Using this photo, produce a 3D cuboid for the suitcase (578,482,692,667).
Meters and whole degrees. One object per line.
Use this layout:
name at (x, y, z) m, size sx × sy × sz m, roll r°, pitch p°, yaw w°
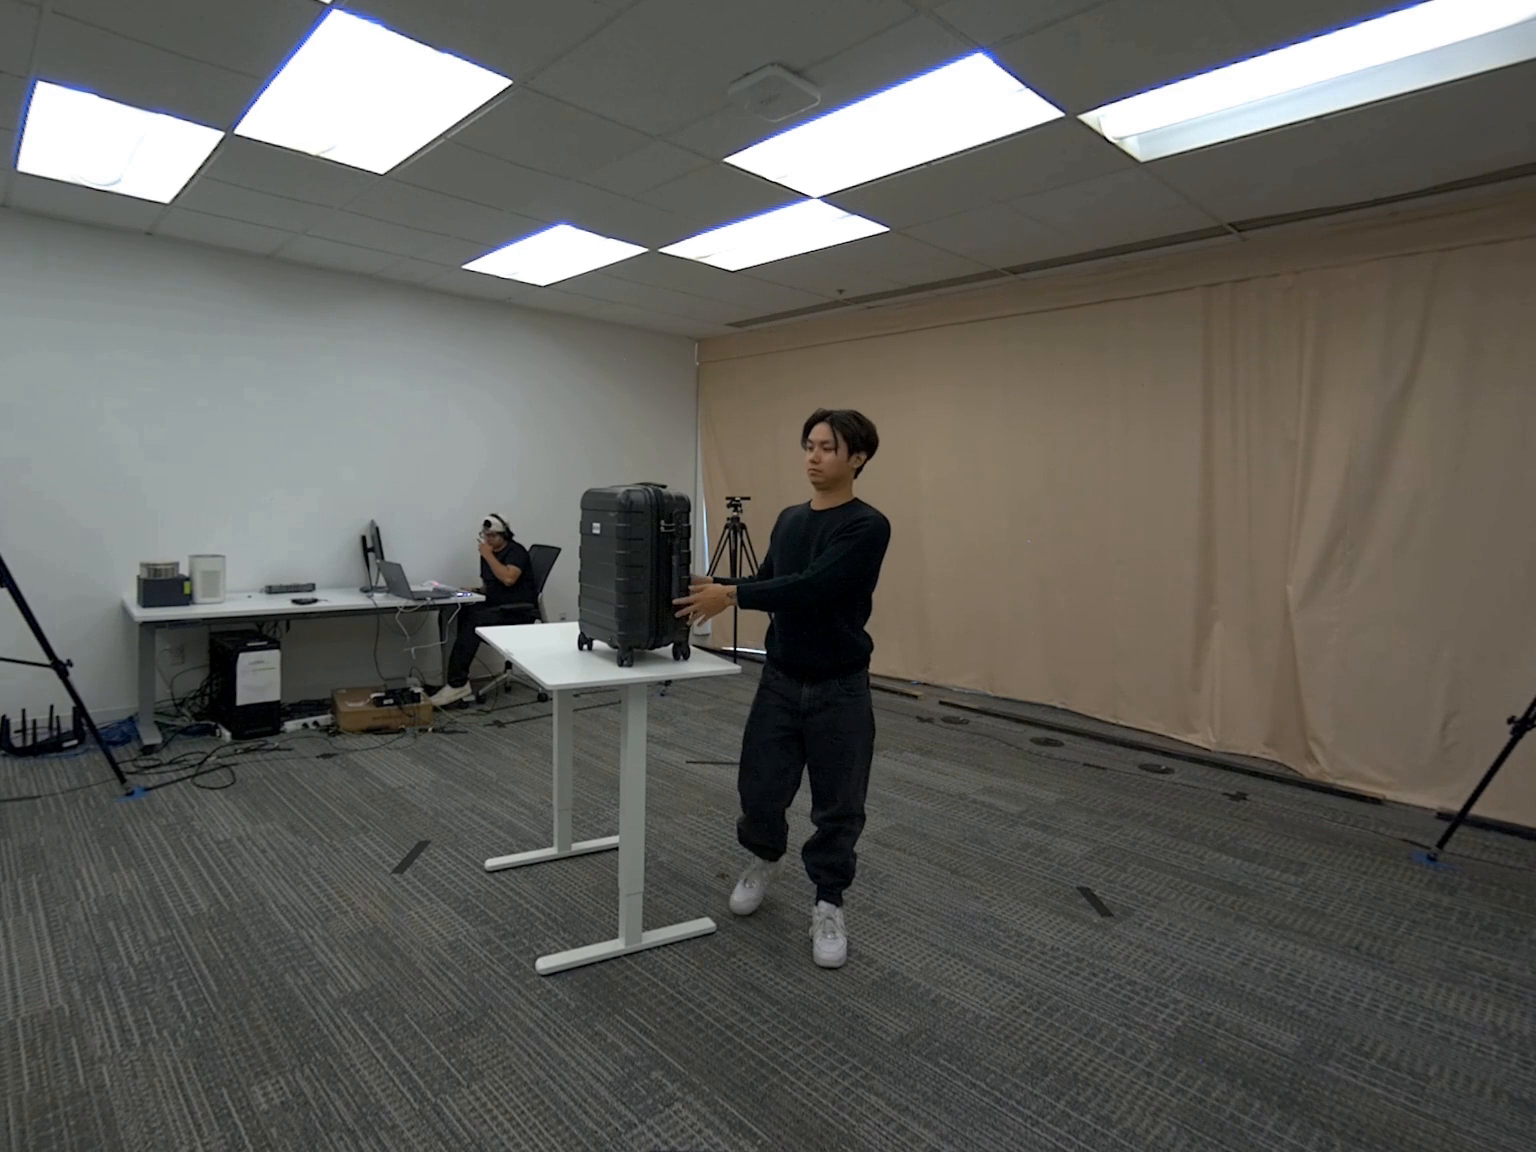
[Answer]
suitcase at (-0.426, -0.017, 2.669) m, size 0.243 × 0.547 × 0.385 m, roll -2°, pitch 7°, yaw -35°
